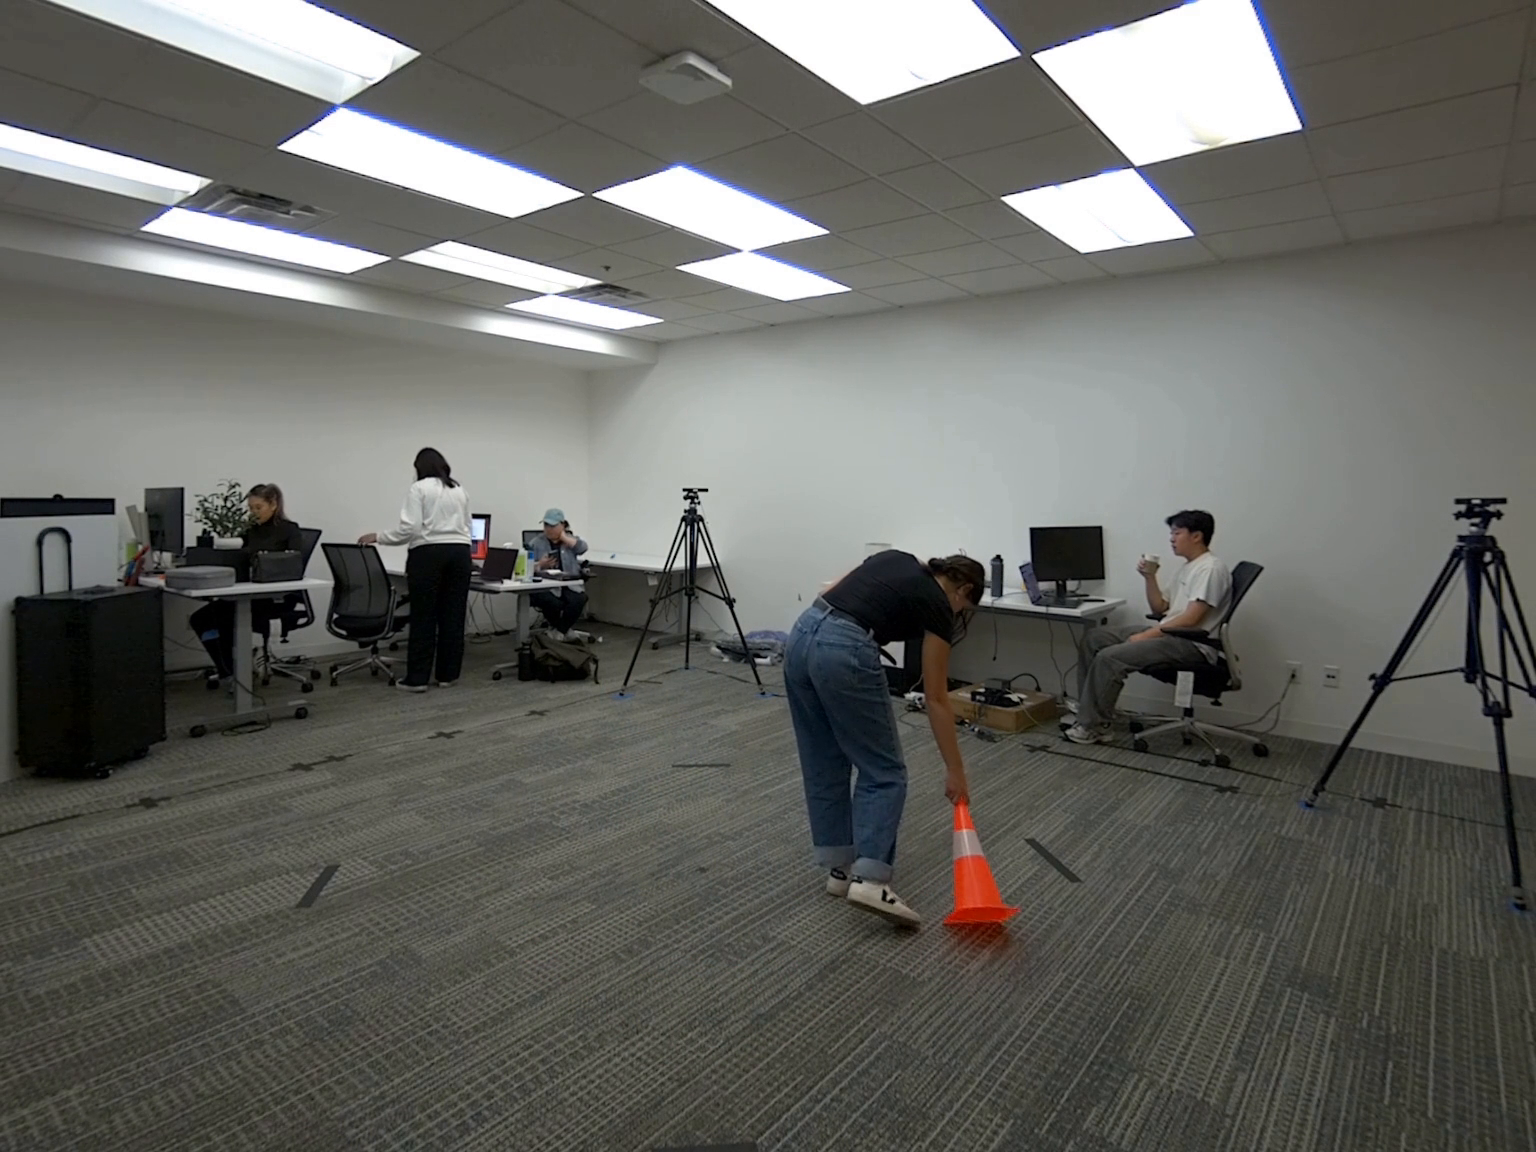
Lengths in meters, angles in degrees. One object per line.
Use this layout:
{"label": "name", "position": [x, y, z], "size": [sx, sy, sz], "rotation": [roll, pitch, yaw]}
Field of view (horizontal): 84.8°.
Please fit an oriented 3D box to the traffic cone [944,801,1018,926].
{"label": "traffic cone", "position": [0.664, 0.911, 2.795], "size": [0.203, 0.394, 0.200], "rotation": [1, -35, -4]}
